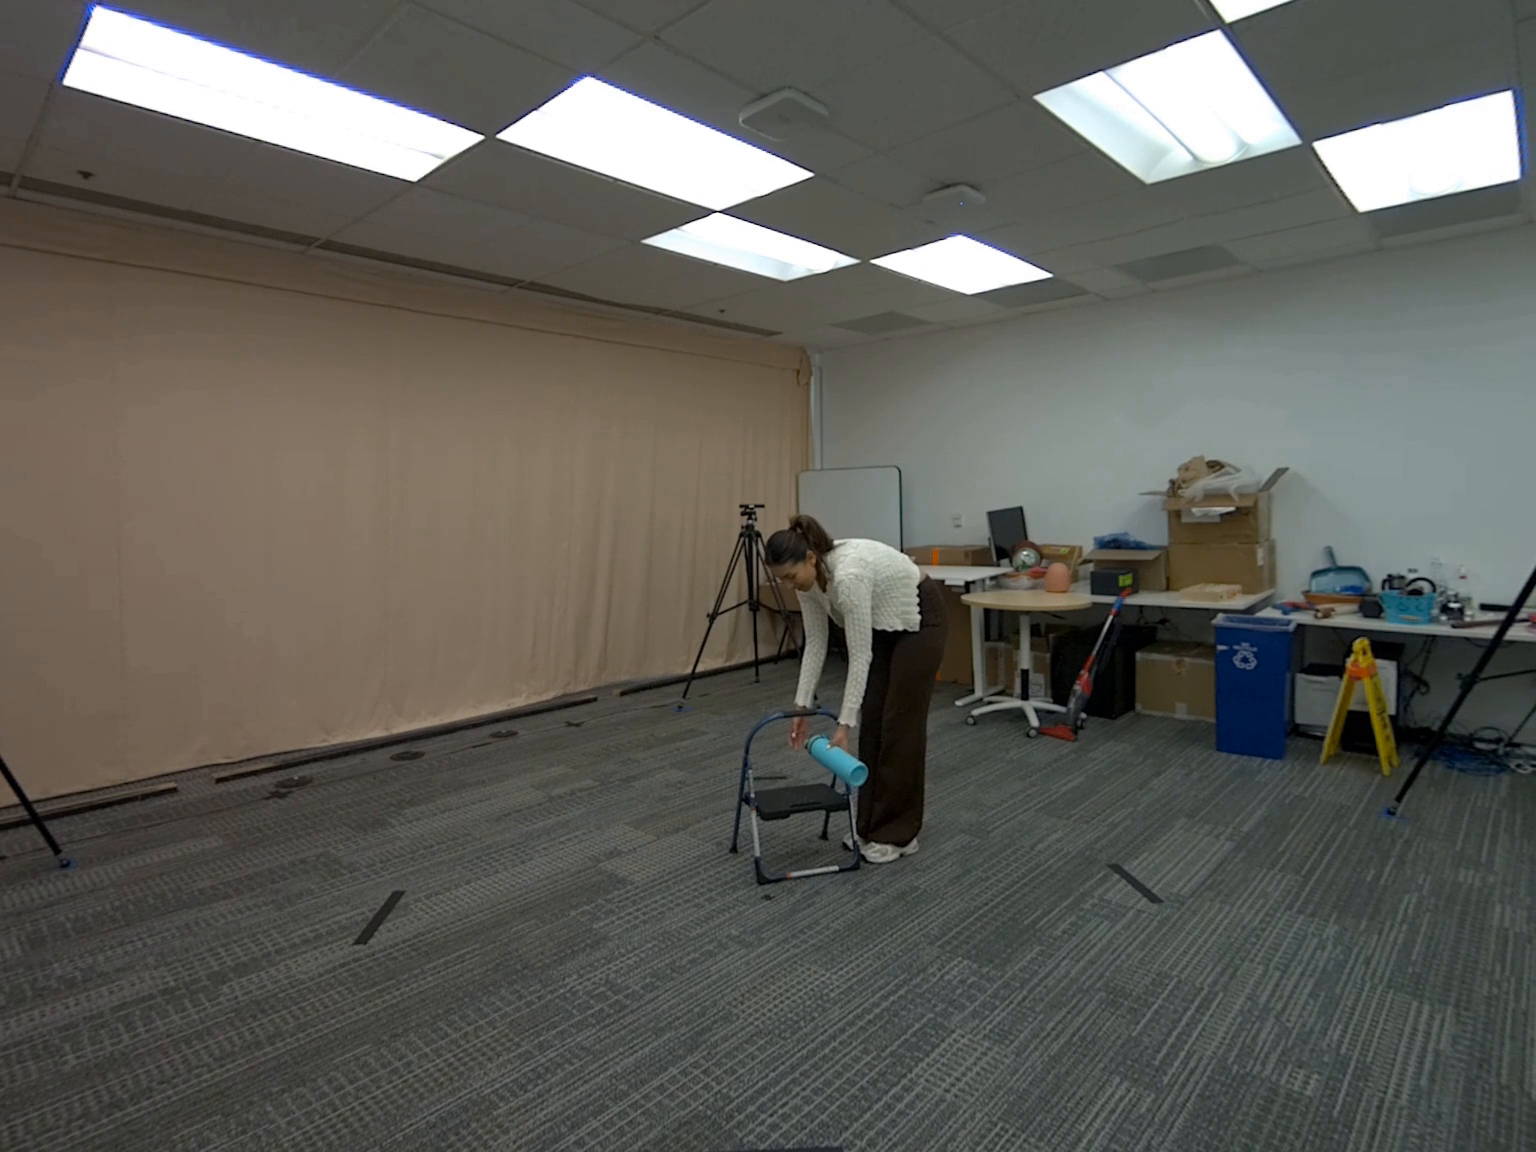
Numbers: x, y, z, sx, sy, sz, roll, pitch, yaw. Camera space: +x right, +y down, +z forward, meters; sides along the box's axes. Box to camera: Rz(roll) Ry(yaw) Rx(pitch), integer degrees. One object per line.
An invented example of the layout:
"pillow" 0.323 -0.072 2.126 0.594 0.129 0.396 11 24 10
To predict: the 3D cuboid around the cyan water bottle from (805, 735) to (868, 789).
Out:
"cyan water bottle" 0.252 0.654 3.041 0.090 0.092 0.292 -3 13 -27
